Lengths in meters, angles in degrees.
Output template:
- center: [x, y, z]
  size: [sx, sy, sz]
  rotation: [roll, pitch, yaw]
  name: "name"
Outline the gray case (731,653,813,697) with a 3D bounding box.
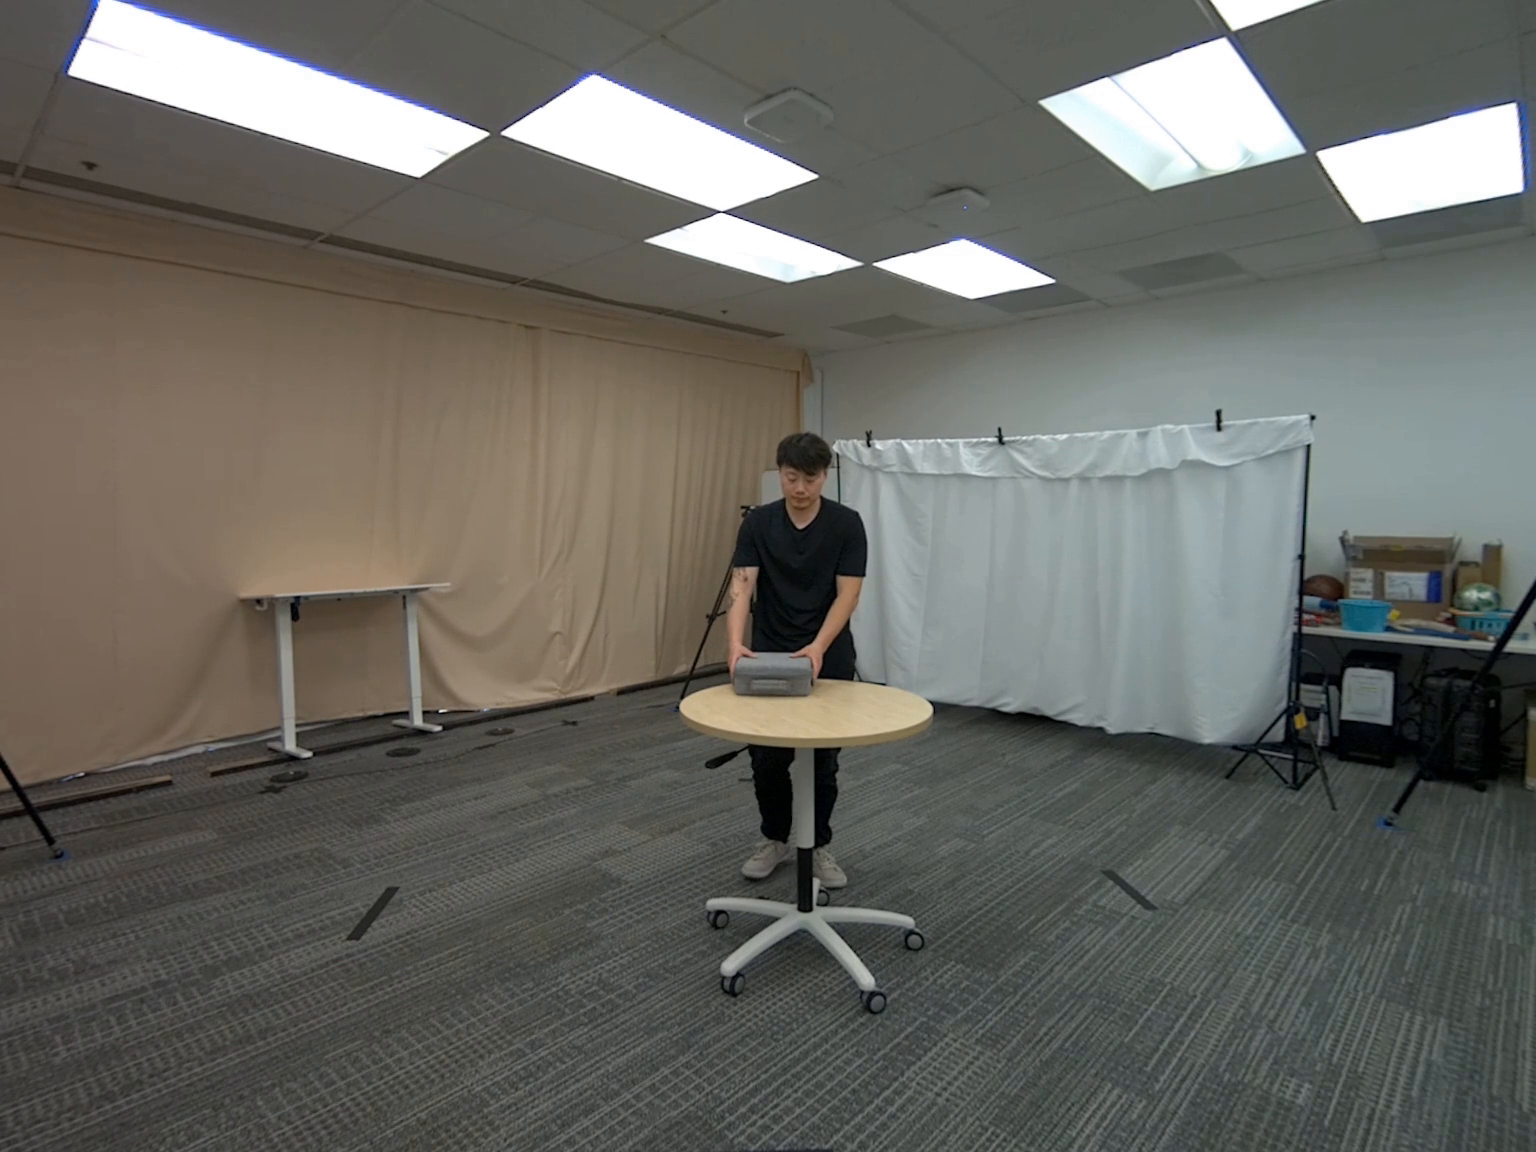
- center: [0.025, 0.326, 2.799]
  size: [0.259, 0.104, 0.259]
  rotation: [2, 5, 6]
  name: "gray case"
